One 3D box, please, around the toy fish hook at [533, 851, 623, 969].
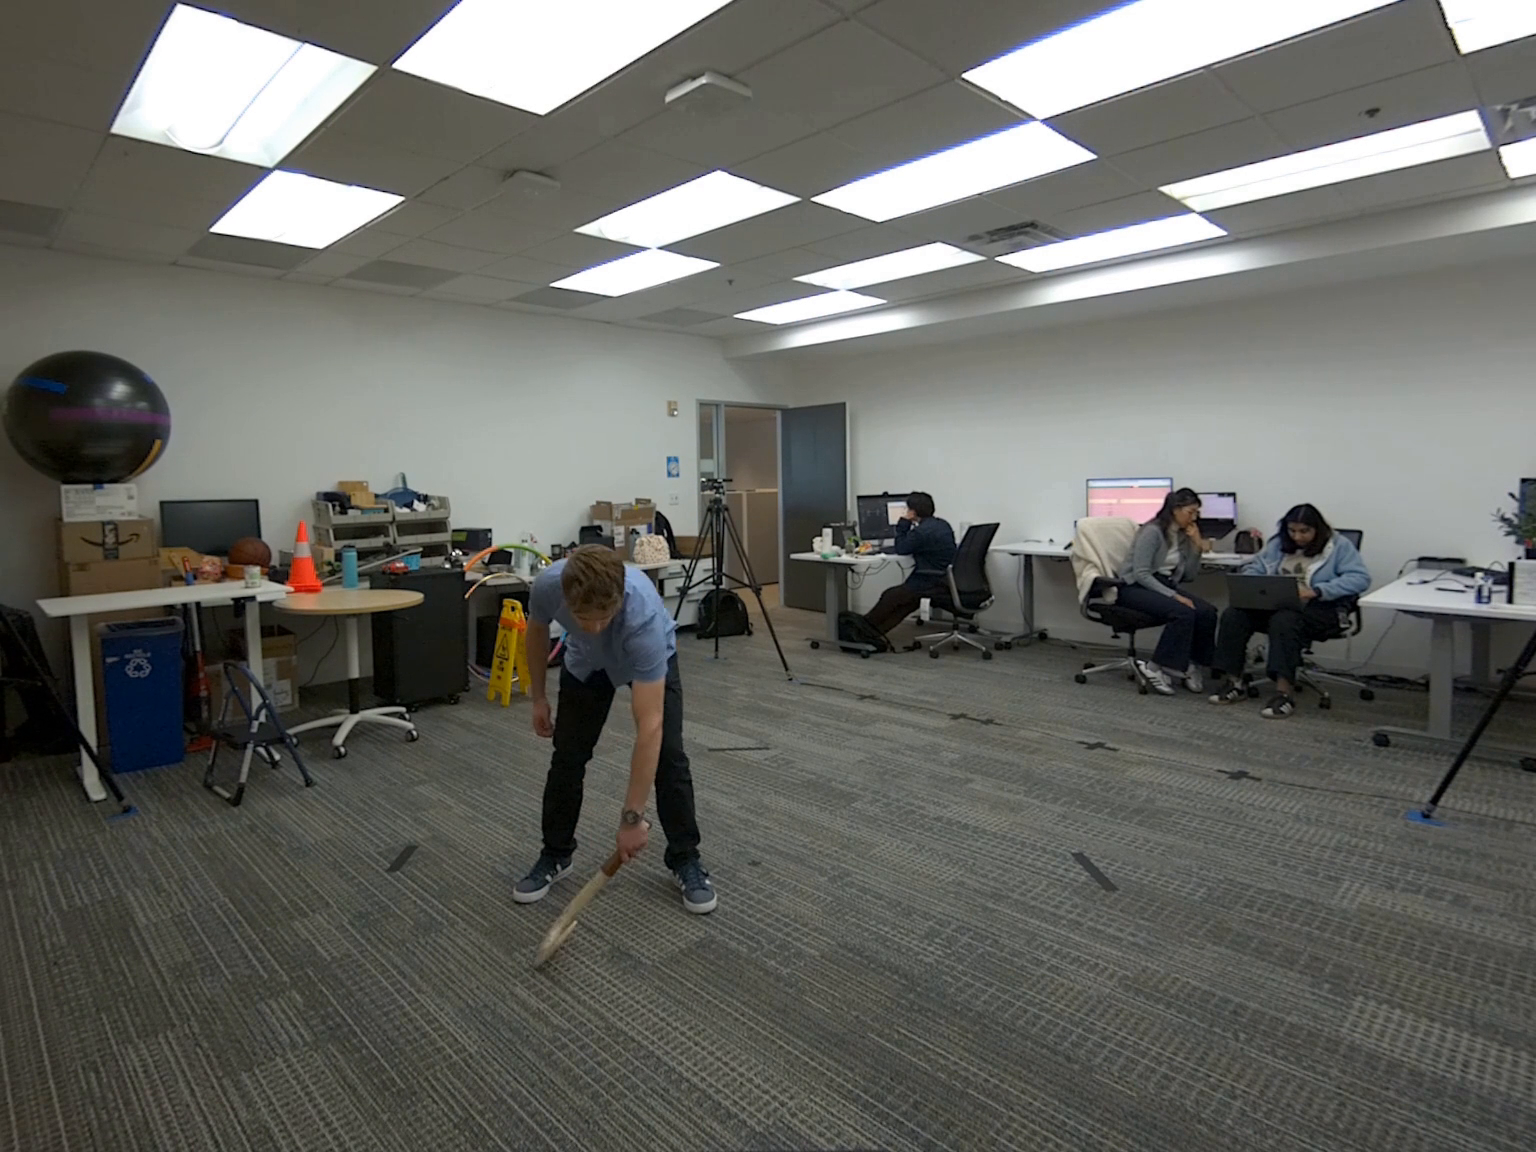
[{"bbox_3d":[-0.505,0.932,2.504,0.048,0.506,0.227,39,1,-9],"label":"toy fish hook"}]
